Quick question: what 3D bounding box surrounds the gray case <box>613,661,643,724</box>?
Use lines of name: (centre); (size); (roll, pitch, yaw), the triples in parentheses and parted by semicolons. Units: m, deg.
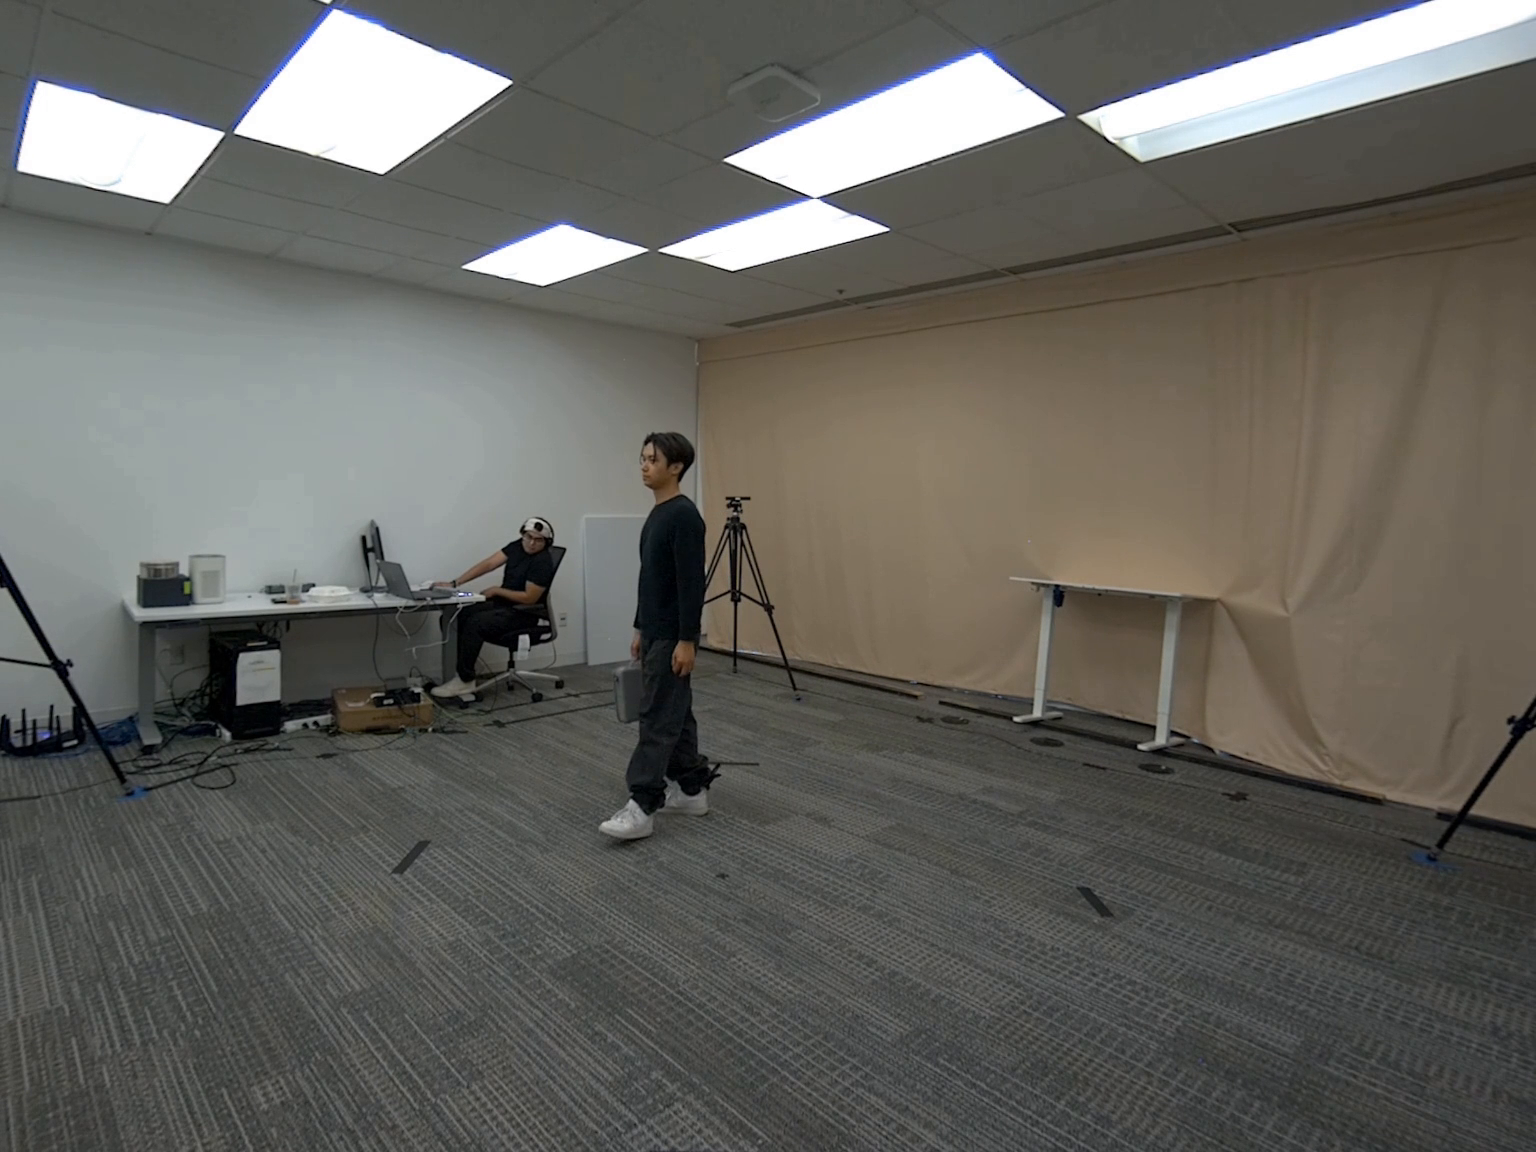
gray case: (-0.581, 0.521, 3.862); (0.252, 0.260, 0.106); (-8, 4, -33)
